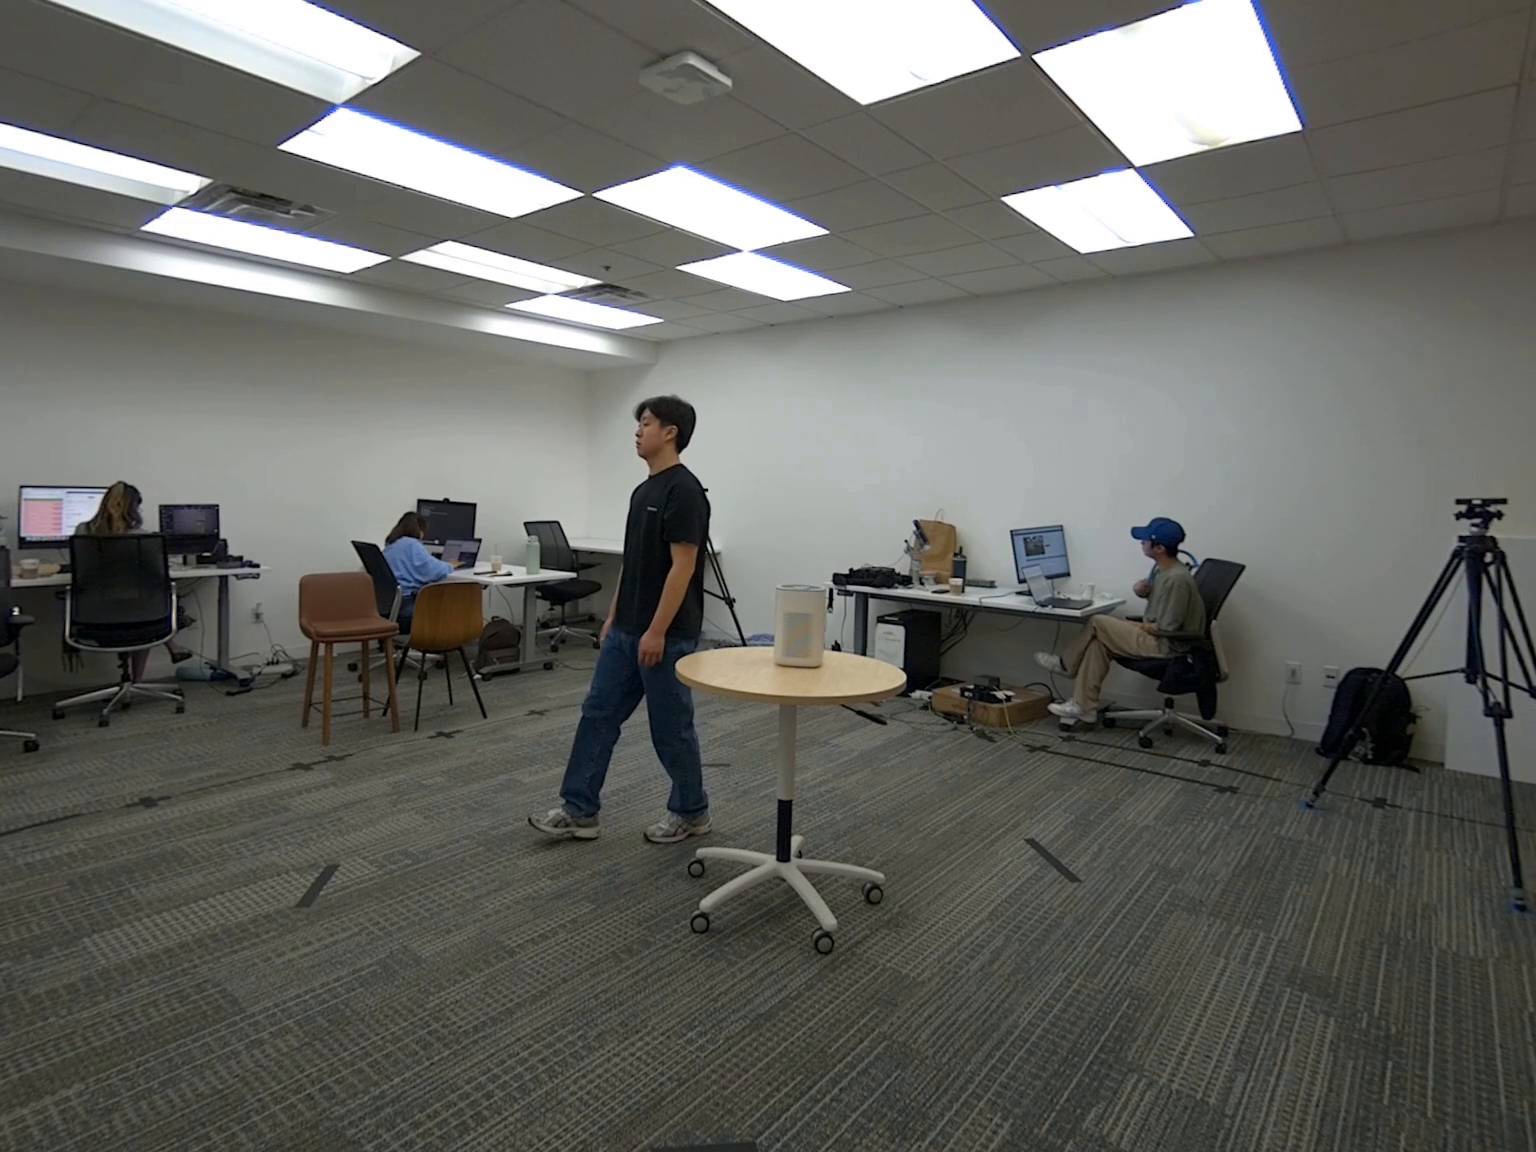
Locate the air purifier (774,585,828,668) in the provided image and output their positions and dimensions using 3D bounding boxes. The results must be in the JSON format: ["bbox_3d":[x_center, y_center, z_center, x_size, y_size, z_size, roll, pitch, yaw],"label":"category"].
[{"bbox_3d":[0.107,0.168,2.929,0.173,0.264,0.170,0,4,7],"label":"air purifier"}]
